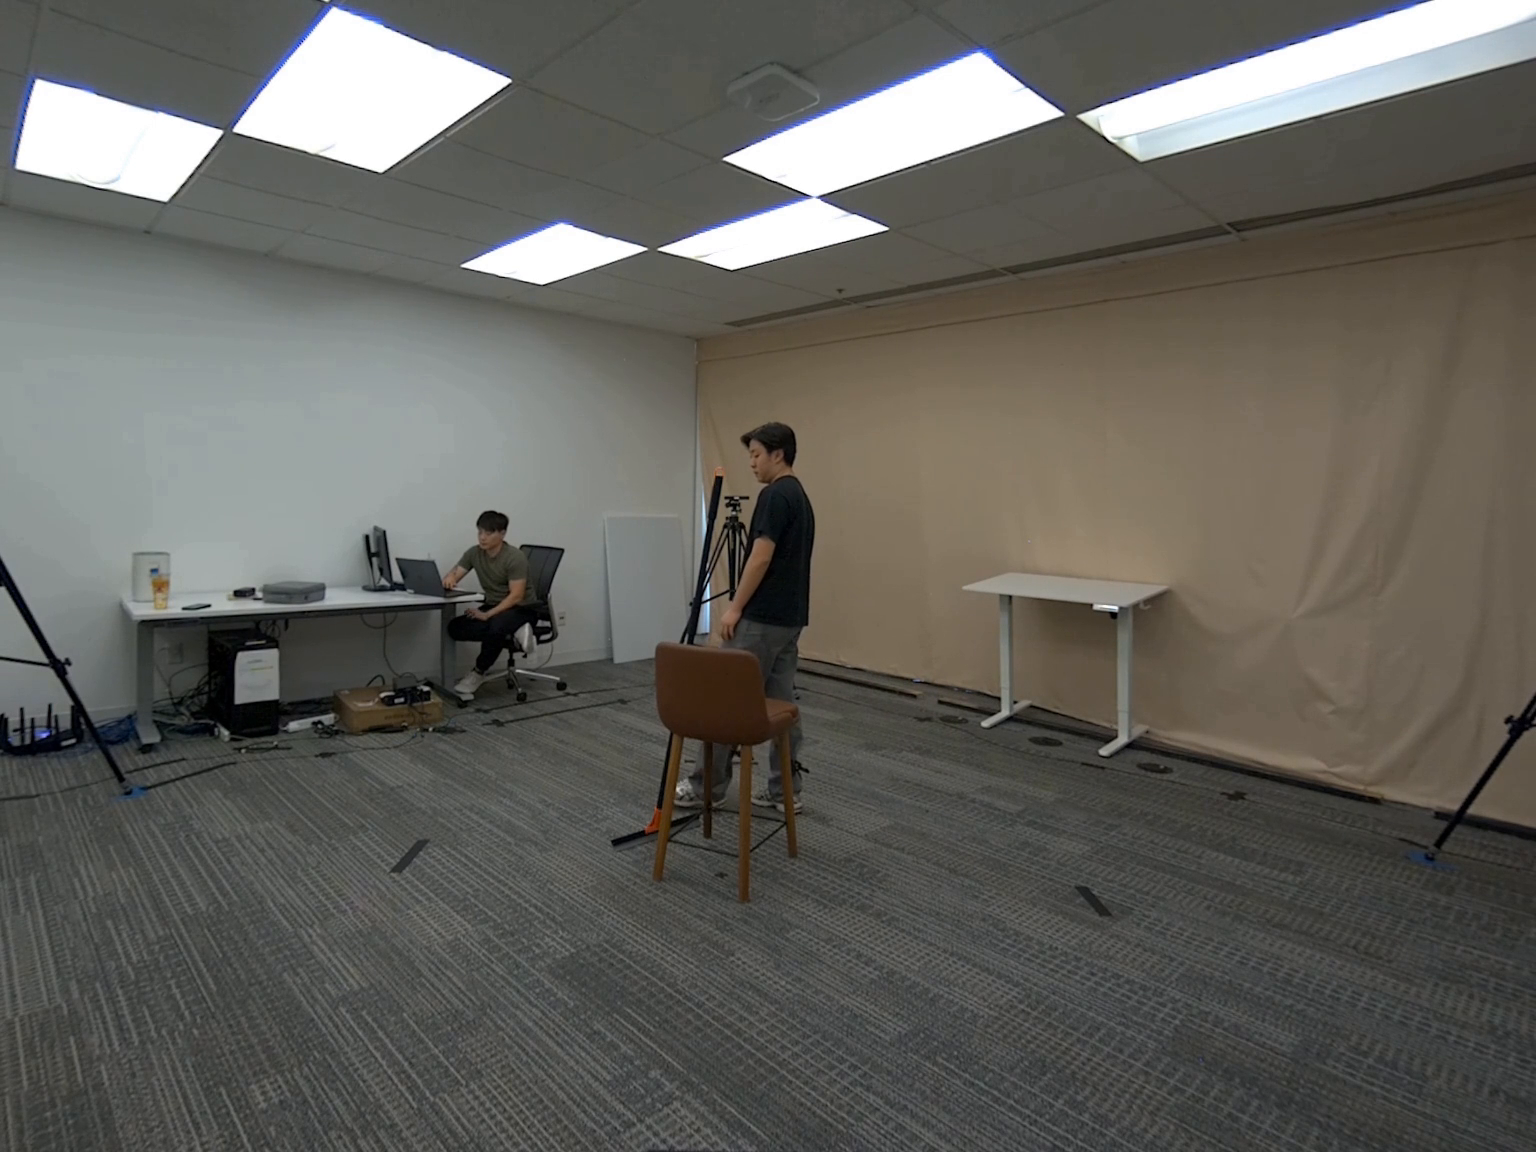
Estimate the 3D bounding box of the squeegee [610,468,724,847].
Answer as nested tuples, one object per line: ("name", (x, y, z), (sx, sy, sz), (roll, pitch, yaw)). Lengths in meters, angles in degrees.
("squeegee", (-0.322, 0.331, 3.253), (0.428, 1.524, 0.054), (-3, 19, -39))
